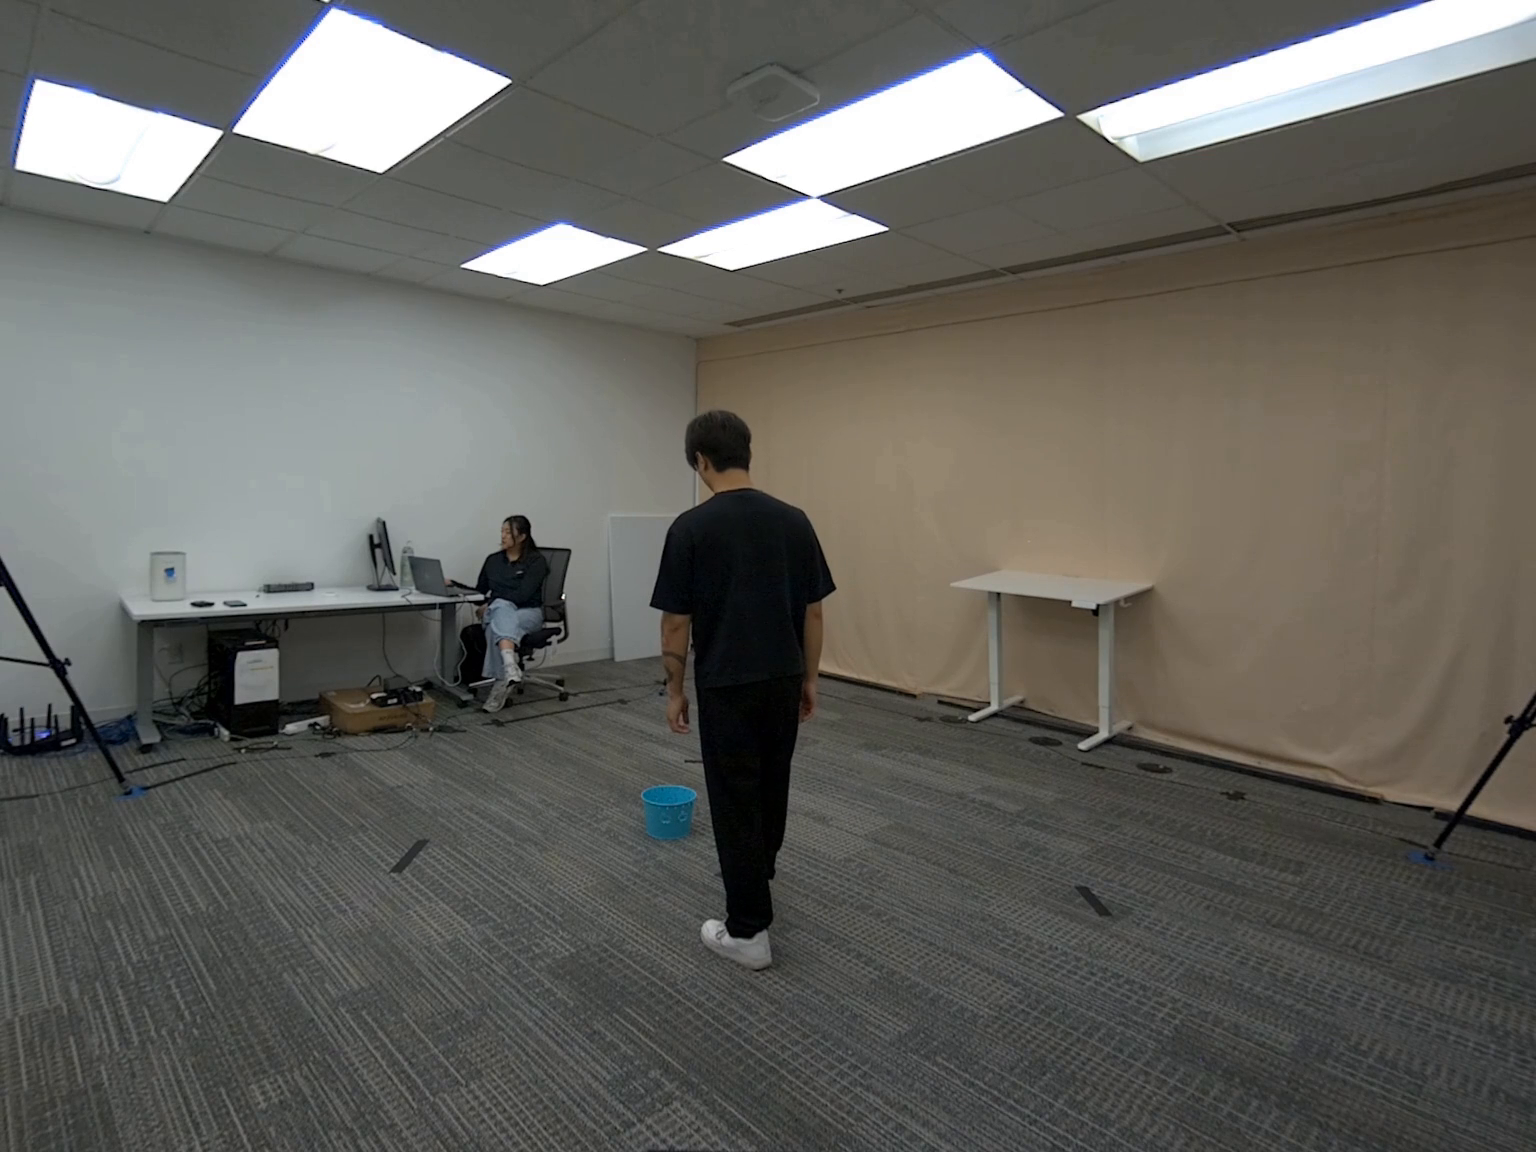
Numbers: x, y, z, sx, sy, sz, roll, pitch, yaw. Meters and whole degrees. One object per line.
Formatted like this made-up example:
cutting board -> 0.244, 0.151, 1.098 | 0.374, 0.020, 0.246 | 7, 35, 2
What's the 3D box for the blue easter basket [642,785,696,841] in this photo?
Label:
blue easter basket -> -0.417, 0.986, 3.507 | 0.243, 0.155, 0.244 | 1, 5, -1
